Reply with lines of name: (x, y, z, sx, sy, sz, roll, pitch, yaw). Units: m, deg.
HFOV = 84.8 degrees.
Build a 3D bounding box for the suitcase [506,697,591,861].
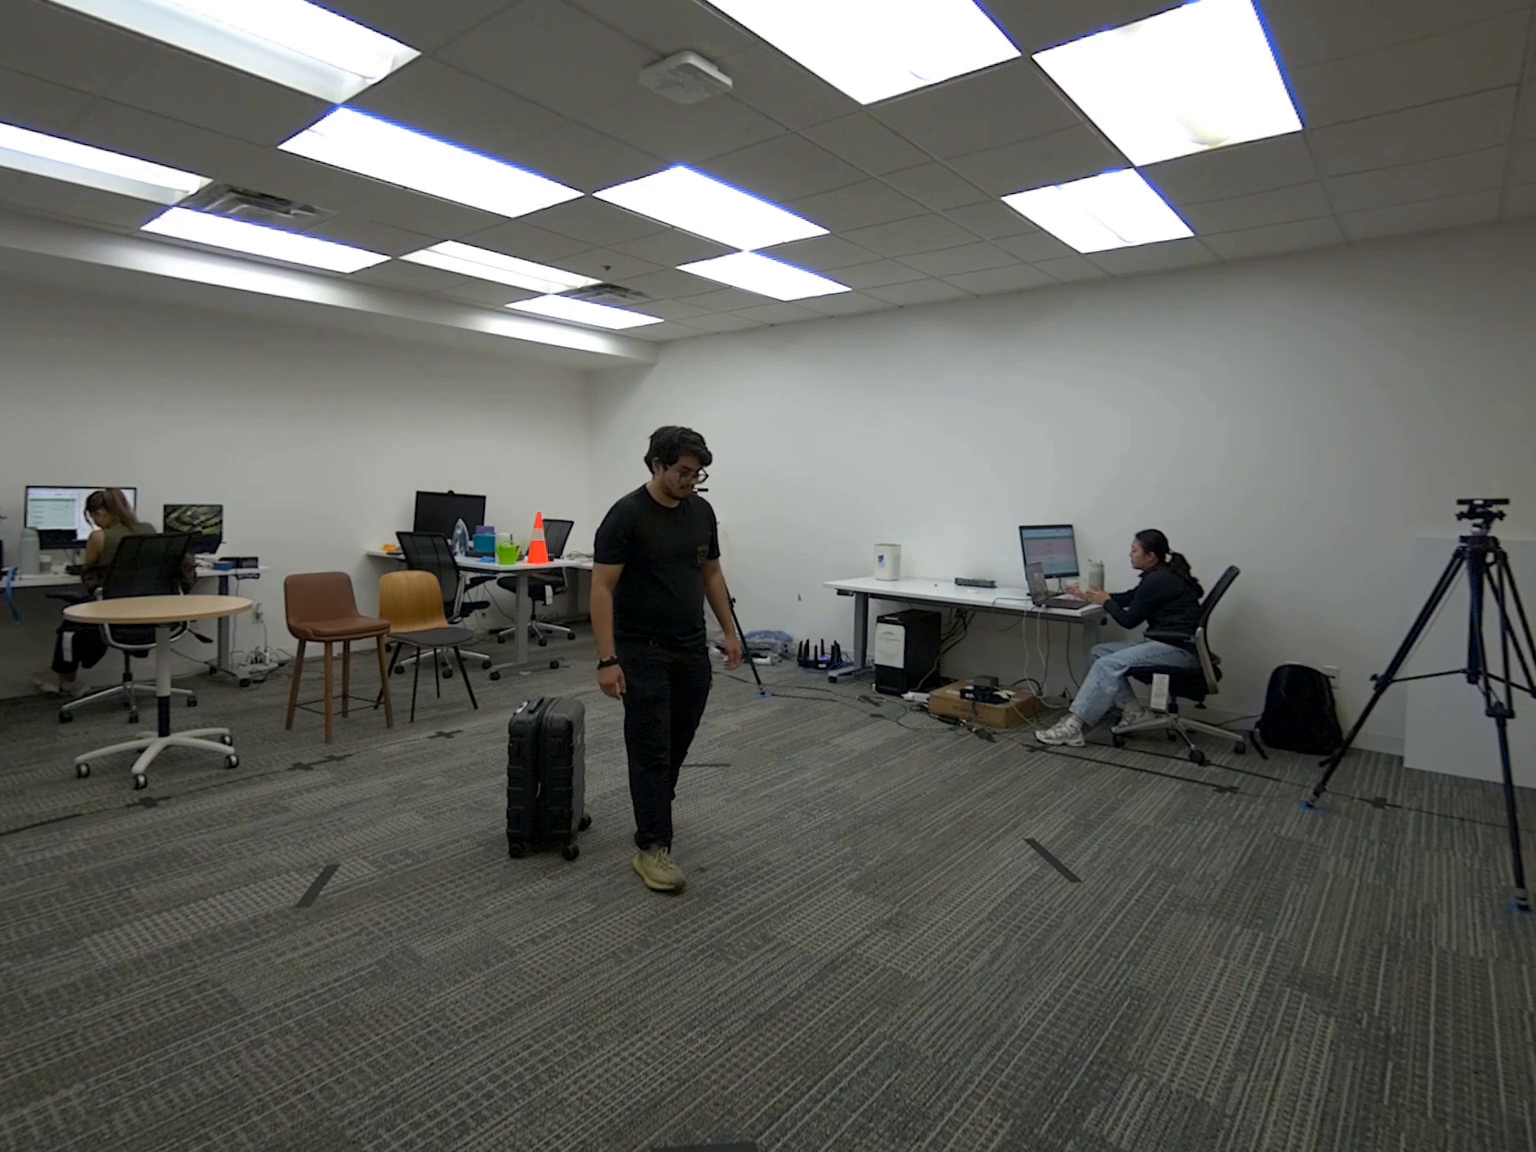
suitcase: (-0.874, 0.761, 3.325, 0.248, 0.548, 0.377, 1, 3, -3)
